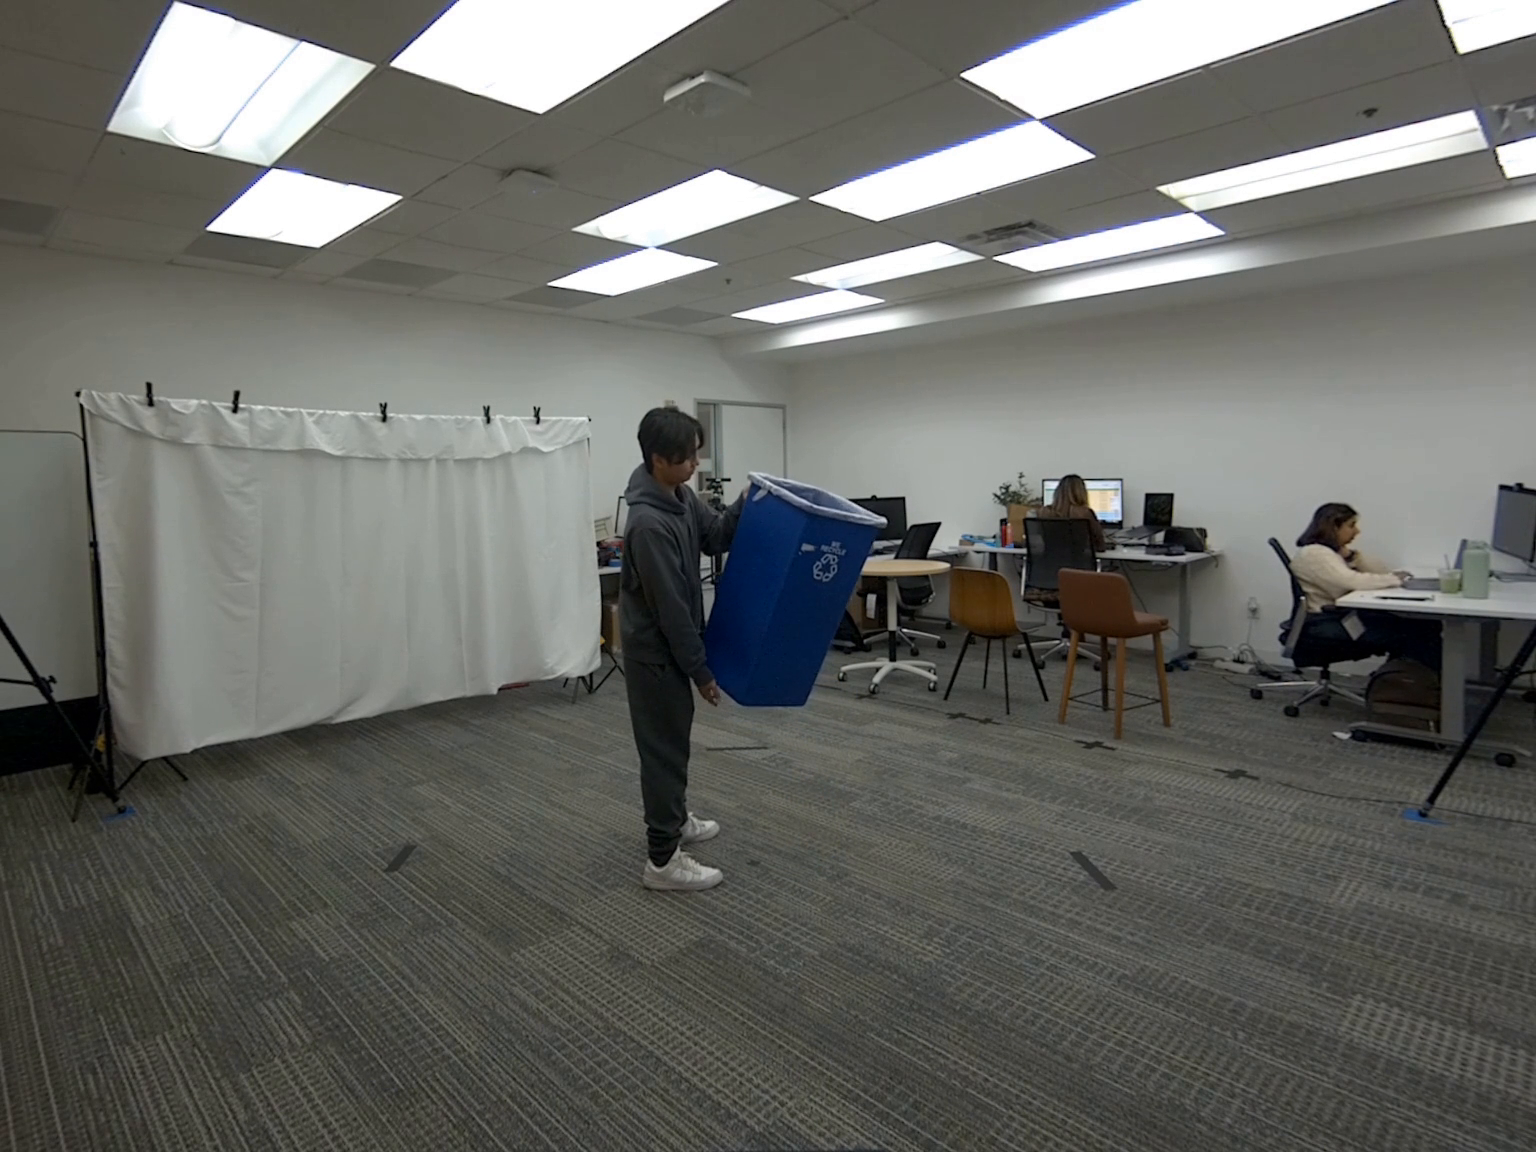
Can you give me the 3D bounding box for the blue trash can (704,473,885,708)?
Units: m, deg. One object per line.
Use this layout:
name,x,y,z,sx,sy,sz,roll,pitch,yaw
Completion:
blue trash can,0.058,0.058,2.951,0.362,0.708,0.393,8,17,-40
